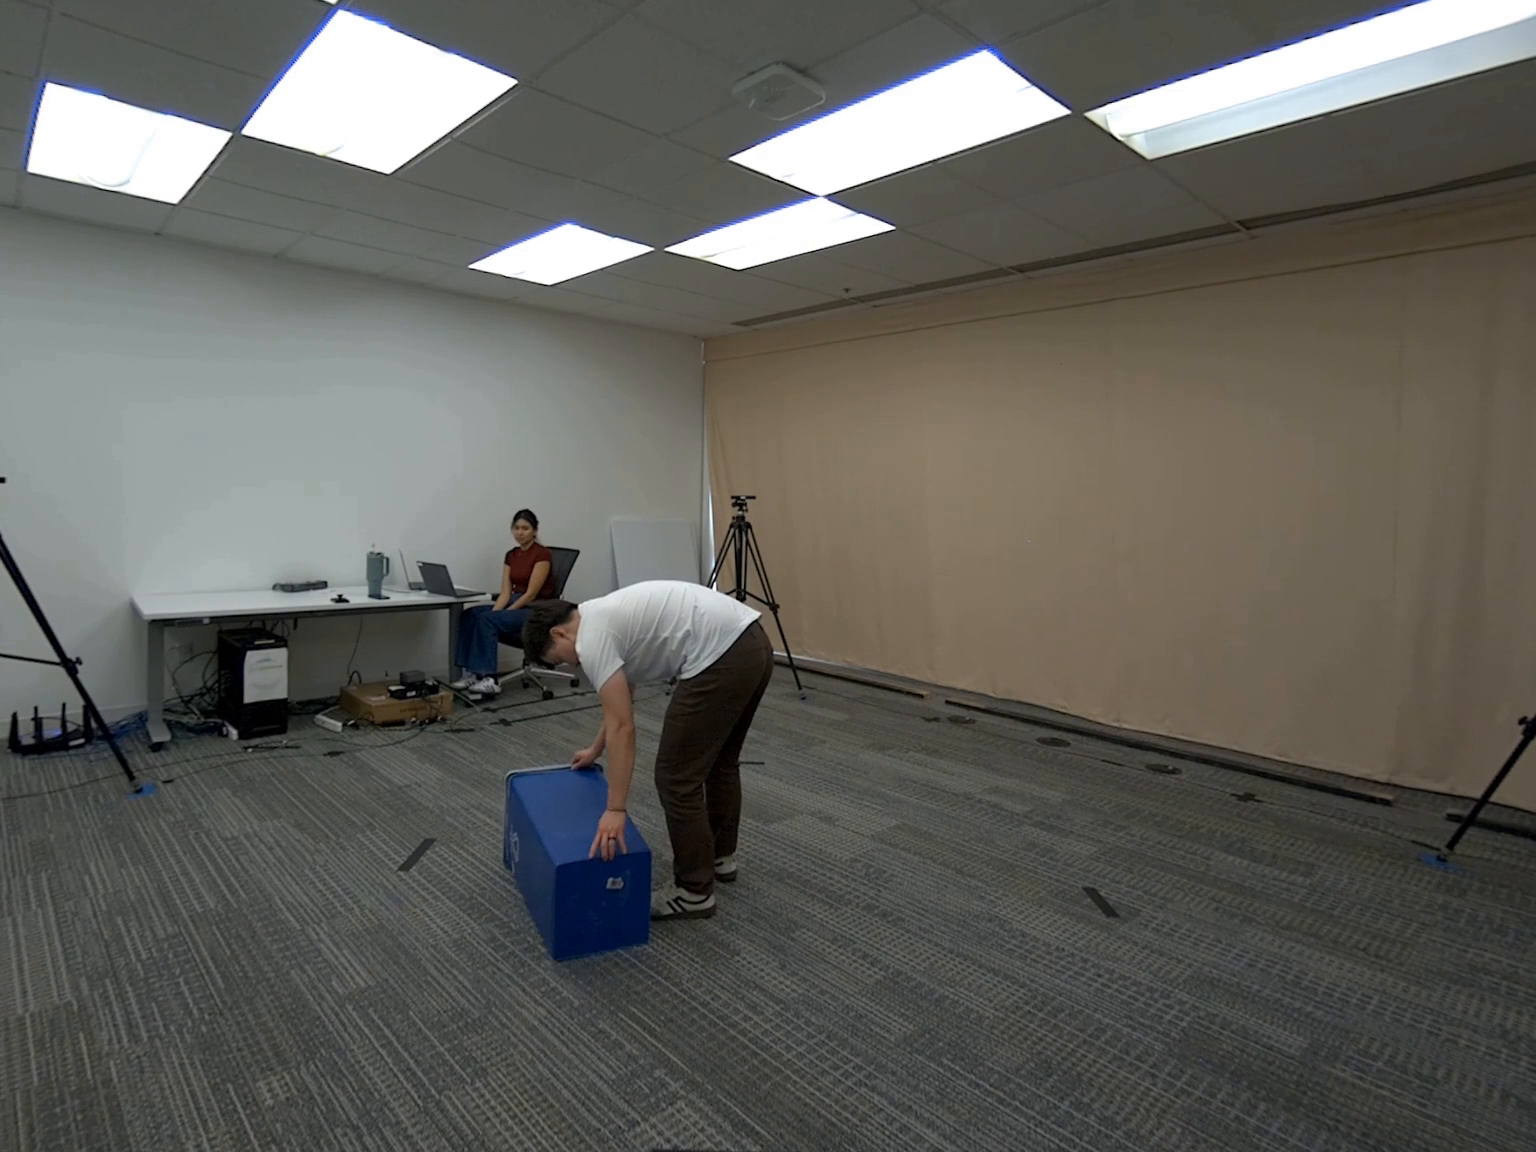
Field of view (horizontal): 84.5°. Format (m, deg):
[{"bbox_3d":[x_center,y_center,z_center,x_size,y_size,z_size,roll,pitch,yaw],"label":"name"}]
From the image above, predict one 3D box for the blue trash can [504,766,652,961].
[{"bbox_3d":[-0.668,0.945,2.859,0.367,0.377,0.729,1,6,-25],"label":"blue trash can"}]
